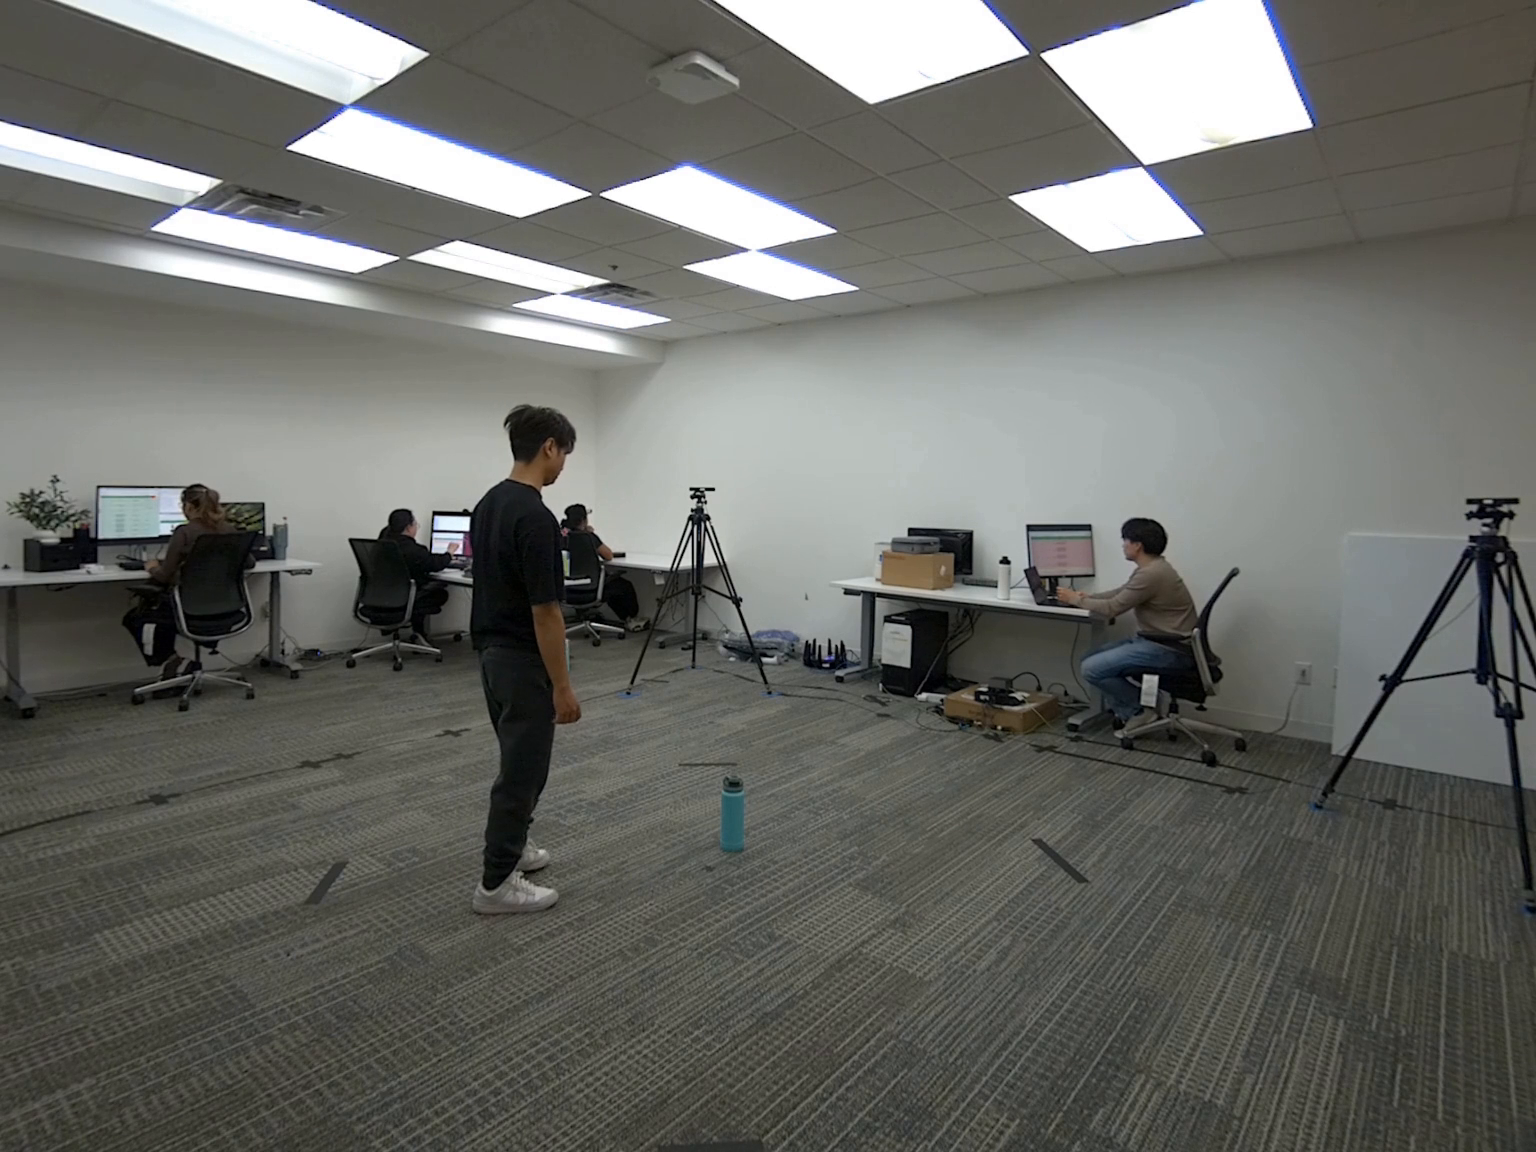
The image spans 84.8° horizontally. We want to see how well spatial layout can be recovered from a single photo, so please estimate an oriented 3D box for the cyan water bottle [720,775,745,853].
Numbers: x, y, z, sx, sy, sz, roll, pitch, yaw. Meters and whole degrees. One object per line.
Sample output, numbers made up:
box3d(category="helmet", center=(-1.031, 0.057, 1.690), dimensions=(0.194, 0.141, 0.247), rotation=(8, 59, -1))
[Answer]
box3d(category="cyan water bottle", center=(-0.145, 0.909, 3.297), dimensions=(0.092, 0.283, 0.092), rotation=(0, 2, -2))
